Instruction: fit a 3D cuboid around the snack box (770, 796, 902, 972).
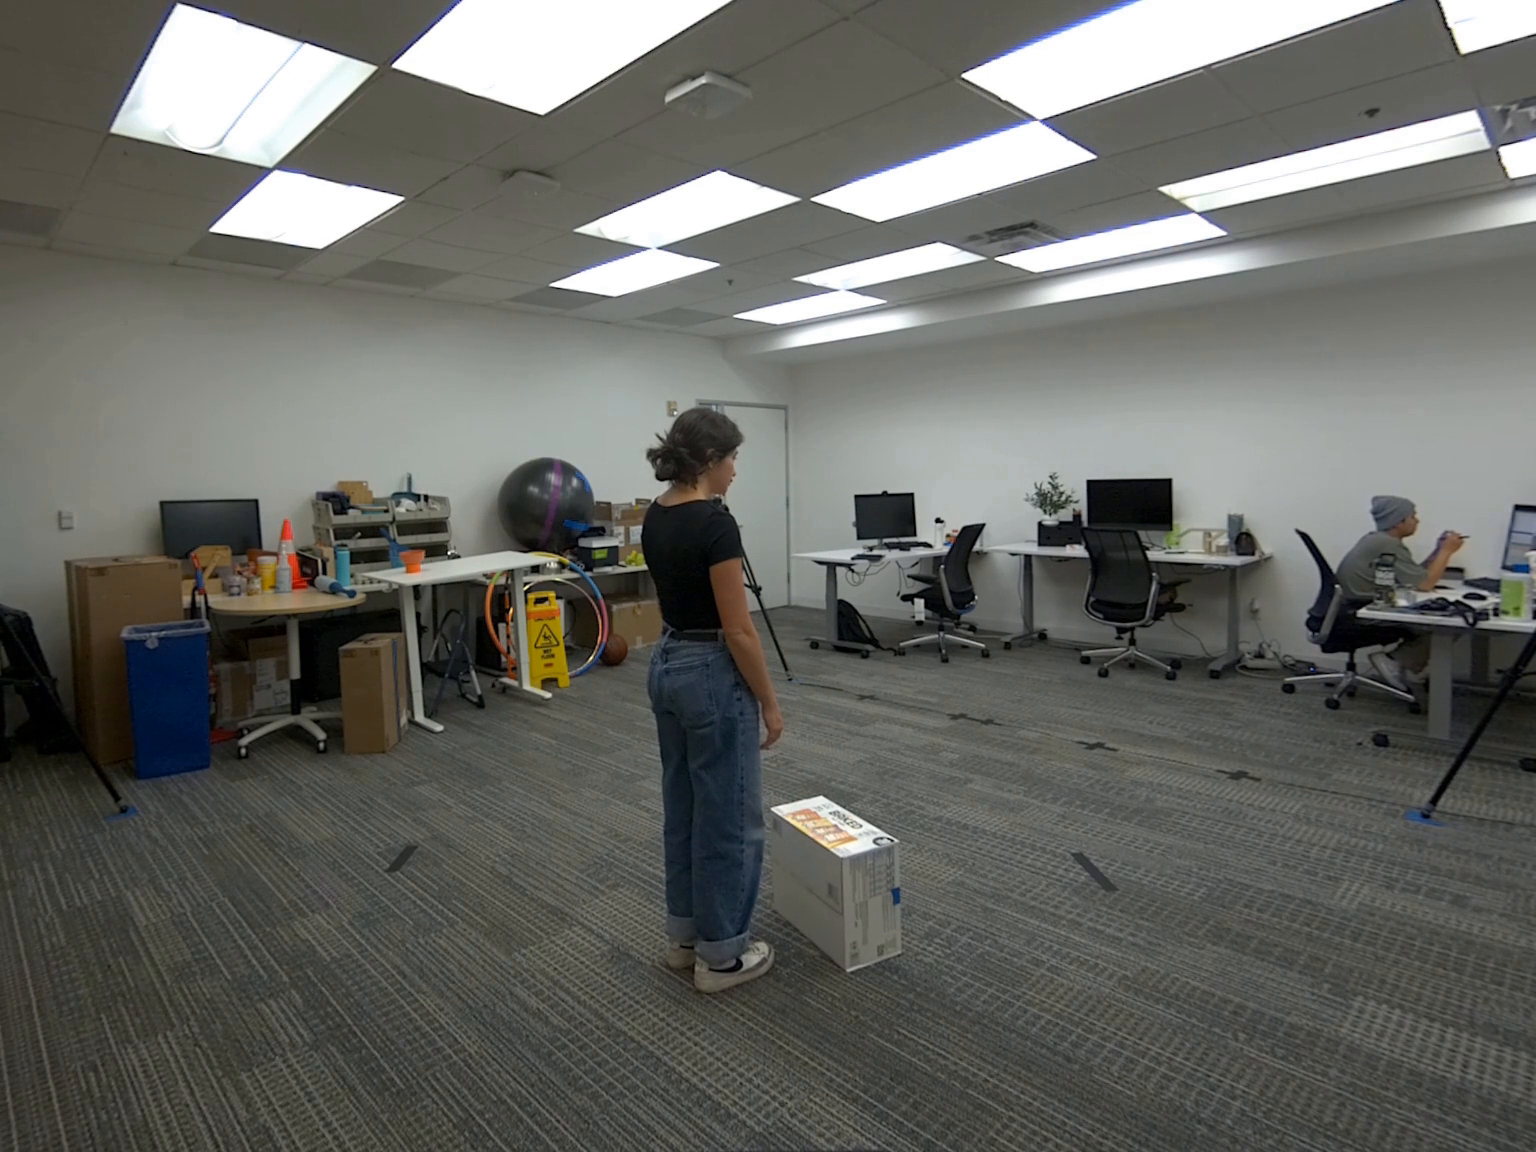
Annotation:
[{"bbox_3d":[0.207,0.928,2.625,0.201,0.339,0.416,-5,7,-29],"label":"snack box"}]
